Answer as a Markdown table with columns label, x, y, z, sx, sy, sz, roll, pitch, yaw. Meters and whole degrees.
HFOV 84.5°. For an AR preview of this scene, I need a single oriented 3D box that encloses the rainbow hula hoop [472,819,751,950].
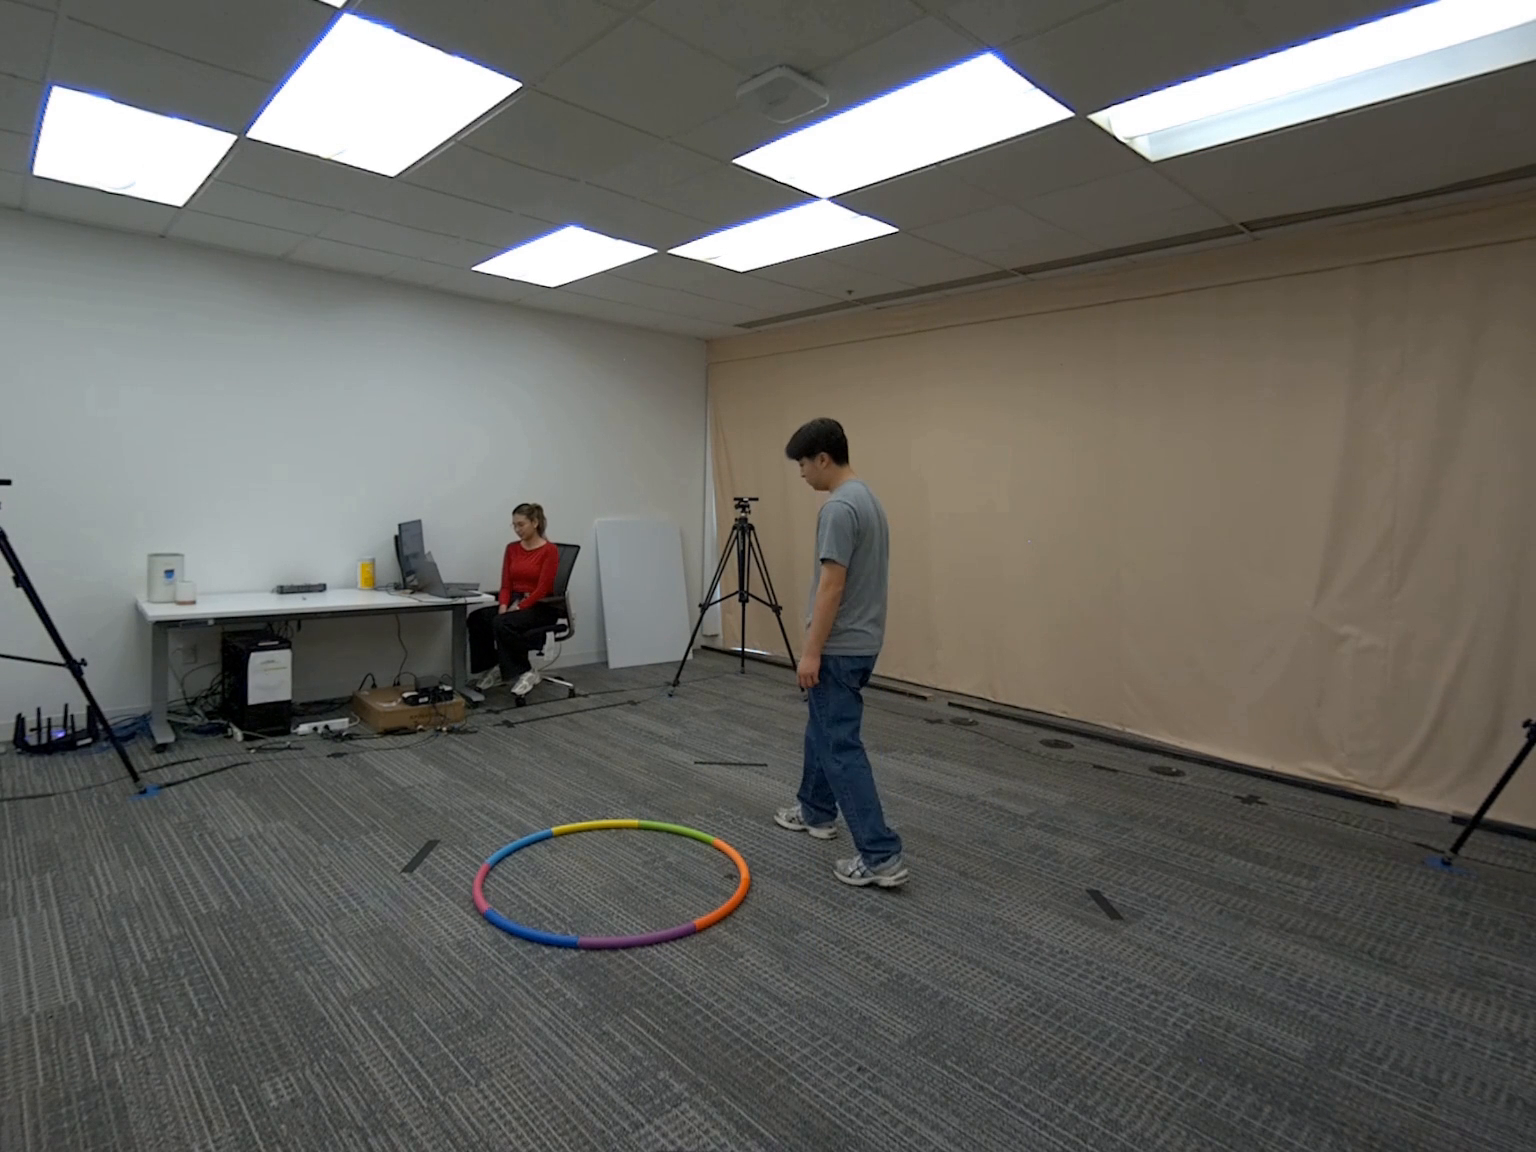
| label | x | y | z | sx | sy | sz | roll | pitch | yaw |
| --- | --- | --- | --- | --- | --- | --- | --- | --- | --- |
| rainbow hula hoop | -0.570 | 1.069 | 3.059 | 0.978 | 0.035 | 0.982 | 2 | 5 | -1 |
